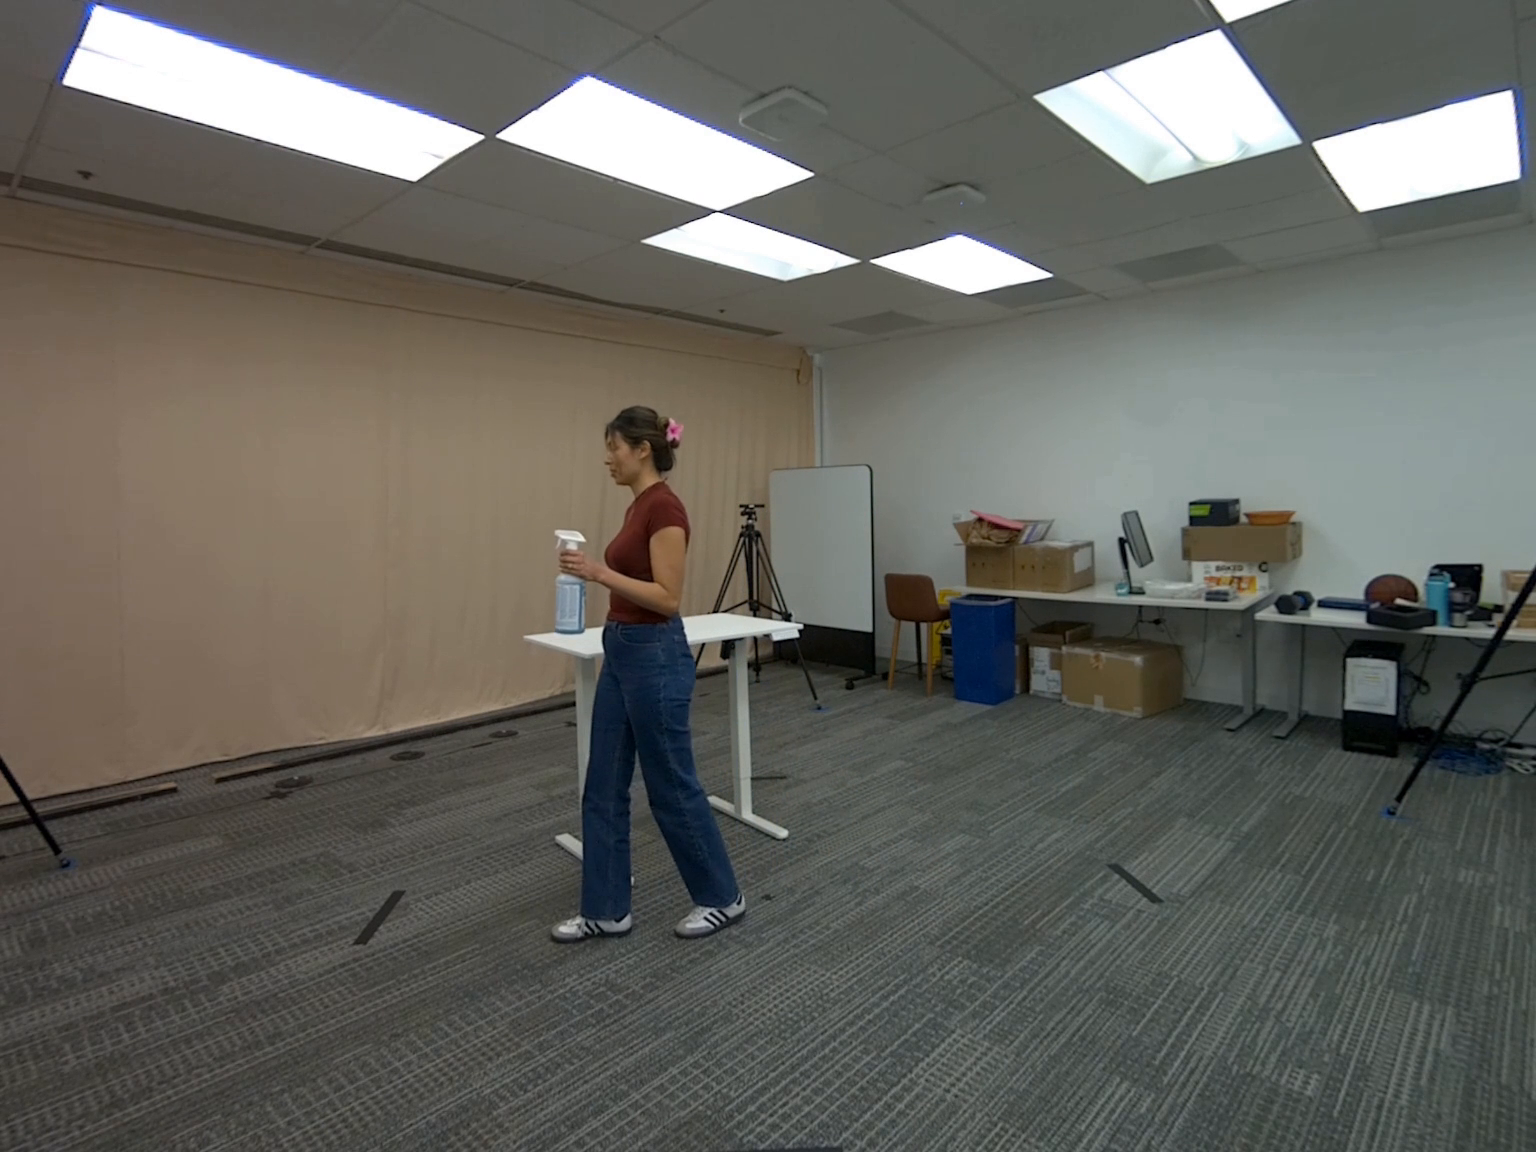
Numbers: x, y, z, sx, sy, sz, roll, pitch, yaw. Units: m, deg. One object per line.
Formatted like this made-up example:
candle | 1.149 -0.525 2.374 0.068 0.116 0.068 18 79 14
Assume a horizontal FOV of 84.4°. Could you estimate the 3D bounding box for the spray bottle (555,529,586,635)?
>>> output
spray bottle | -0.570 0.017 2.427 0.093 0.297 0.084 1 2 37
